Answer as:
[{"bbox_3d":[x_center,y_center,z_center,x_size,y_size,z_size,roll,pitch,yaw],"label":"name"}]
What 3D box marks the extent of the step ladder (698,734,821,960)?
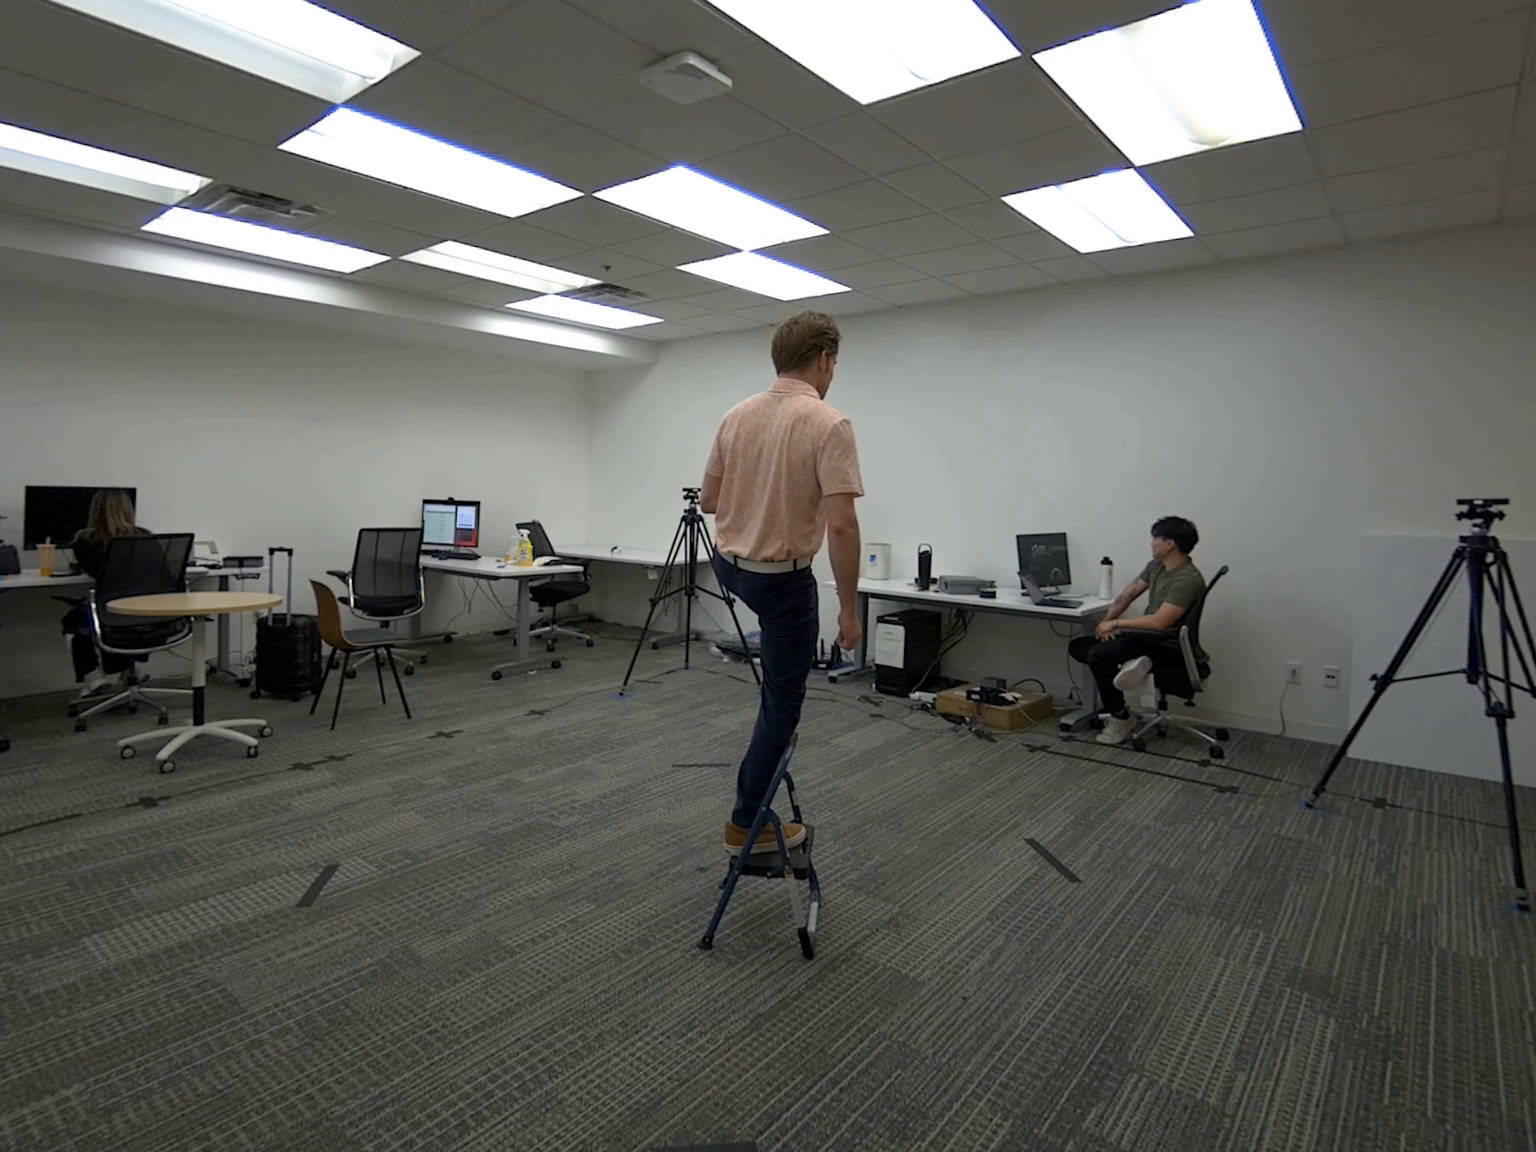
[{"bbox_3d":[-0.014,0.811,2.730,0.353,0.604,0.428,2,4,7],"label":"step ladder"}]
